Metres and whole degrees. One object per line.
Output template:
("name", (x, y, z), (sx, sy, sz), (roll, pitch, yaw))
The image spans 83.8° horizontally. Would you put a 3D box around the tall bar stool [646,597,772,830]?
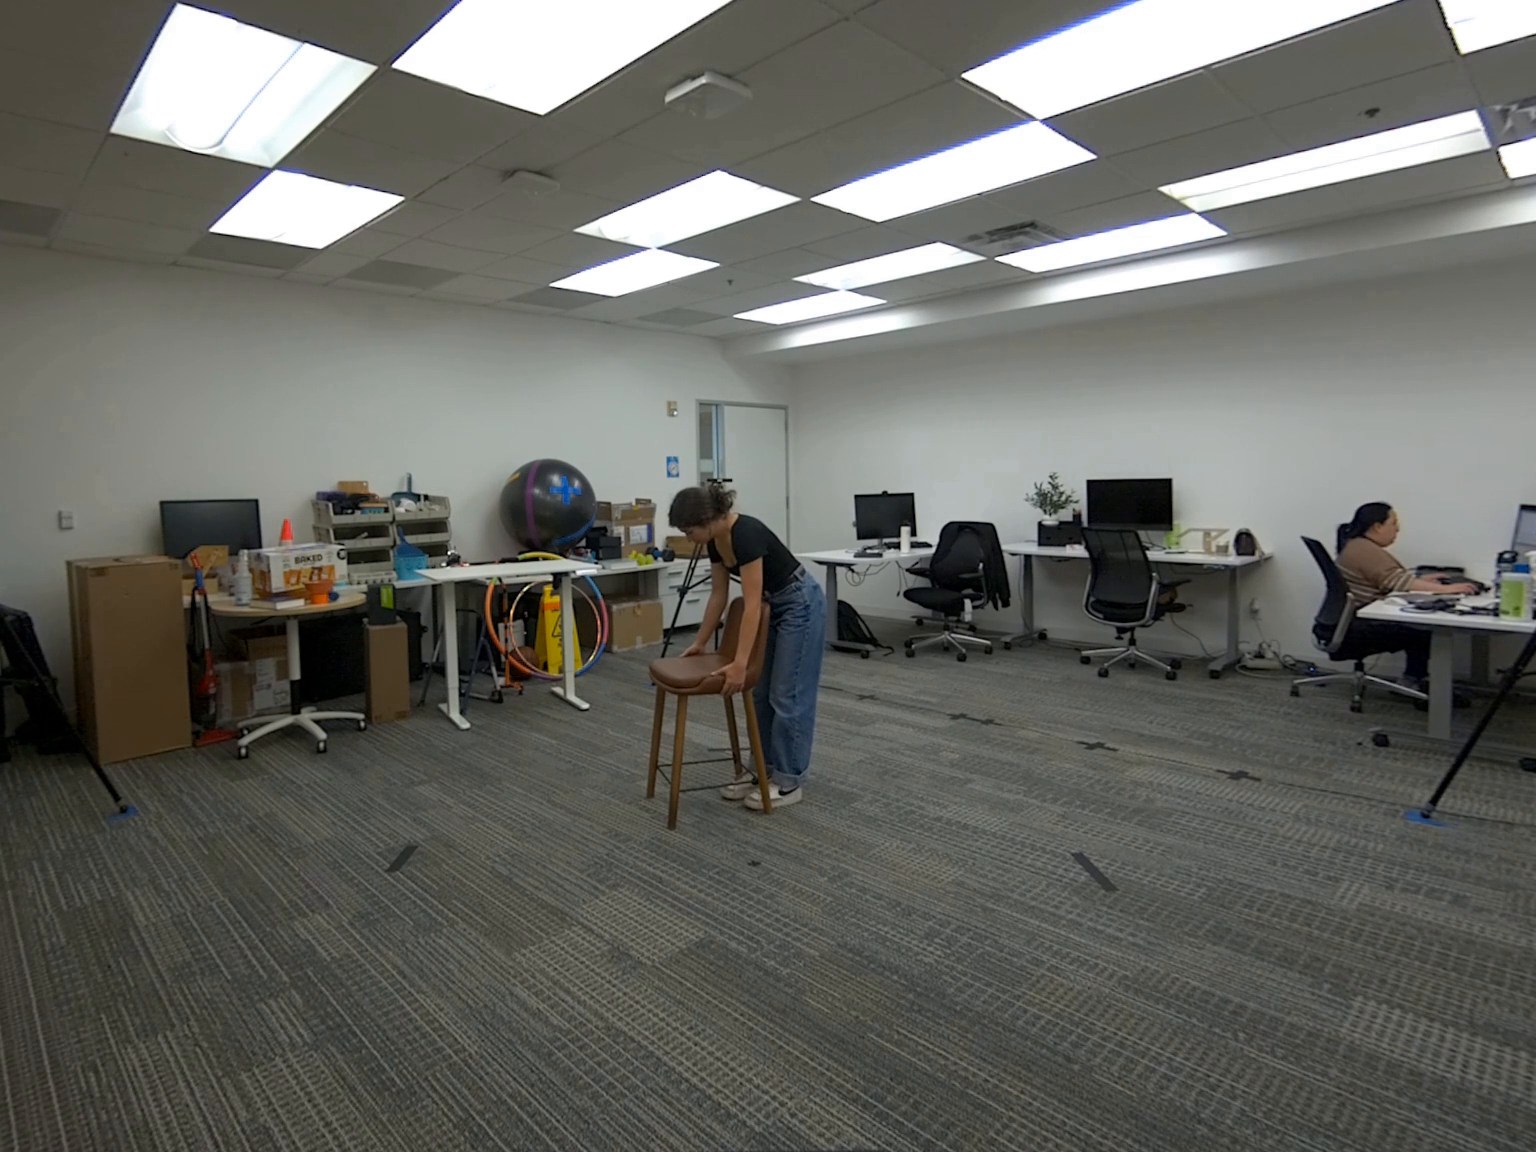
("tall bar stool", (-0.265, 0.548, 3.645), (0.459, 0.887, 0.466), (-1, 4, -20))
